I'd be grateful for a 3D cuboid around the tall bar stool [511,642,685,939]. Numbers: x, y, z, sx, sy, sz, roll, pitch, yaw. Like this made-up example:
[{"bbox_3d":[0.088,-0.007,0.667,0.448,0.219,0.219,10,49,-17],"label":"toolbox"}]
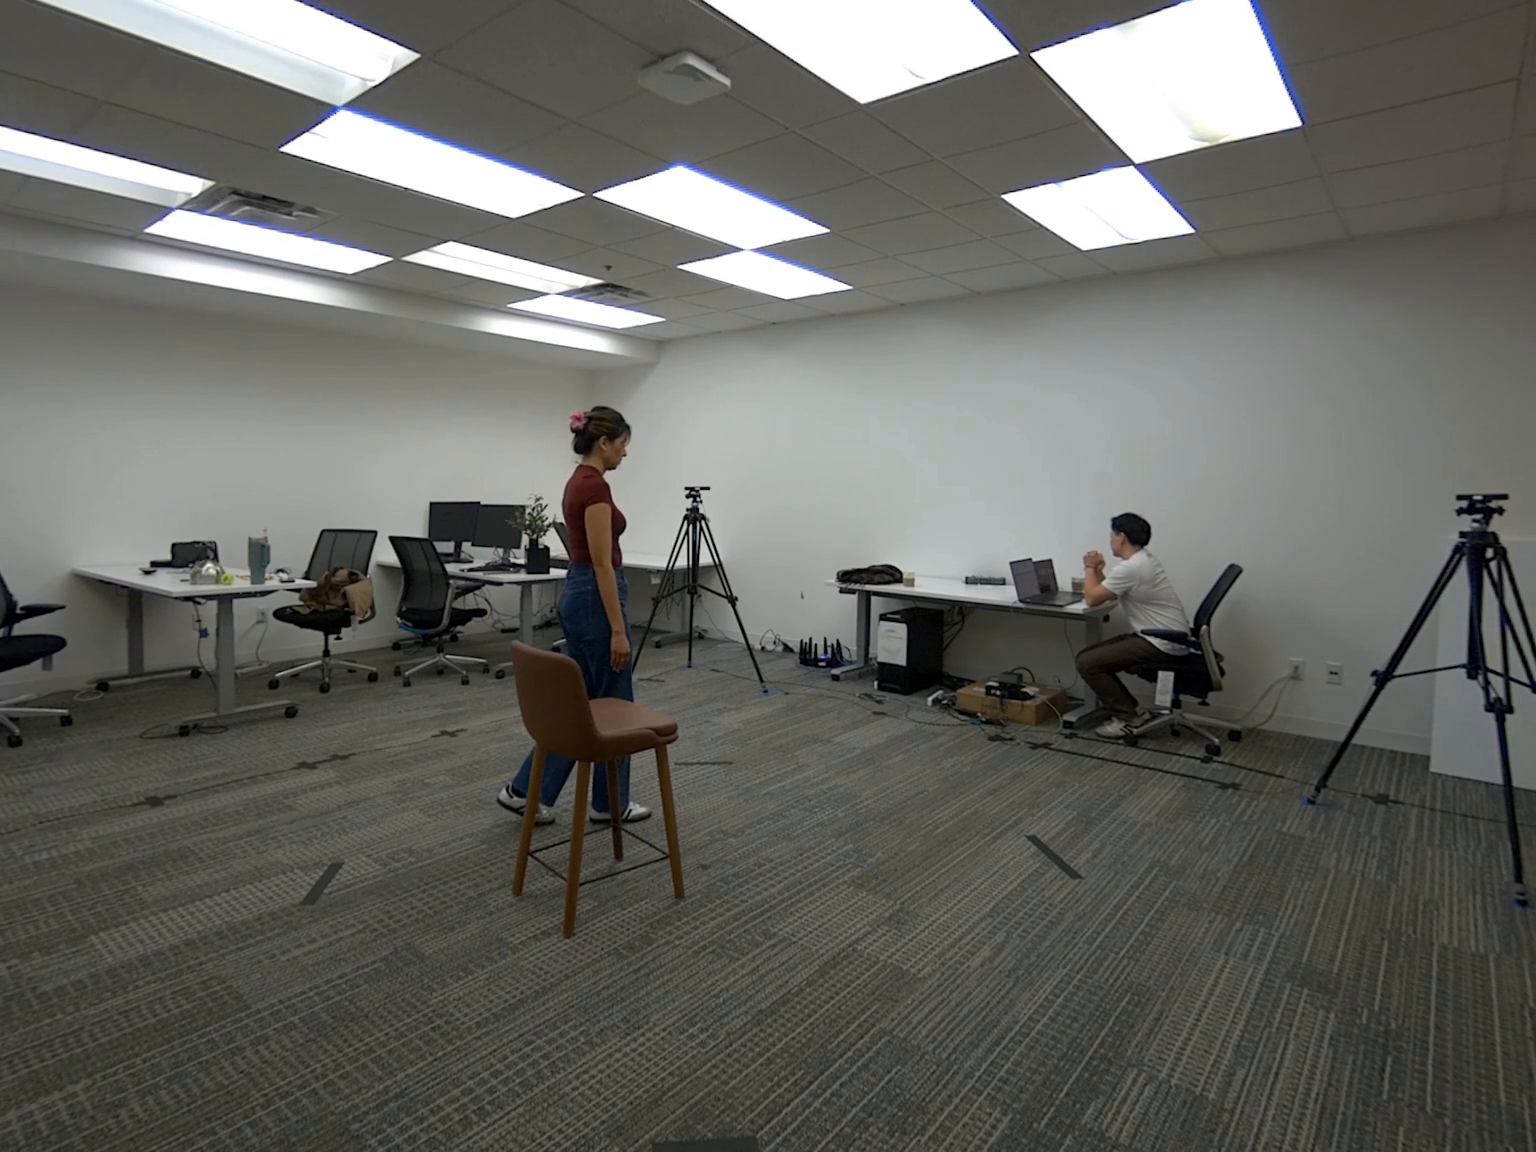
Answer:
[{"bbox_3d":[-0.590,0.652,2.865,0.454,0.886,0.472,-5,6,-42],"label":"tall bar stool"}]
